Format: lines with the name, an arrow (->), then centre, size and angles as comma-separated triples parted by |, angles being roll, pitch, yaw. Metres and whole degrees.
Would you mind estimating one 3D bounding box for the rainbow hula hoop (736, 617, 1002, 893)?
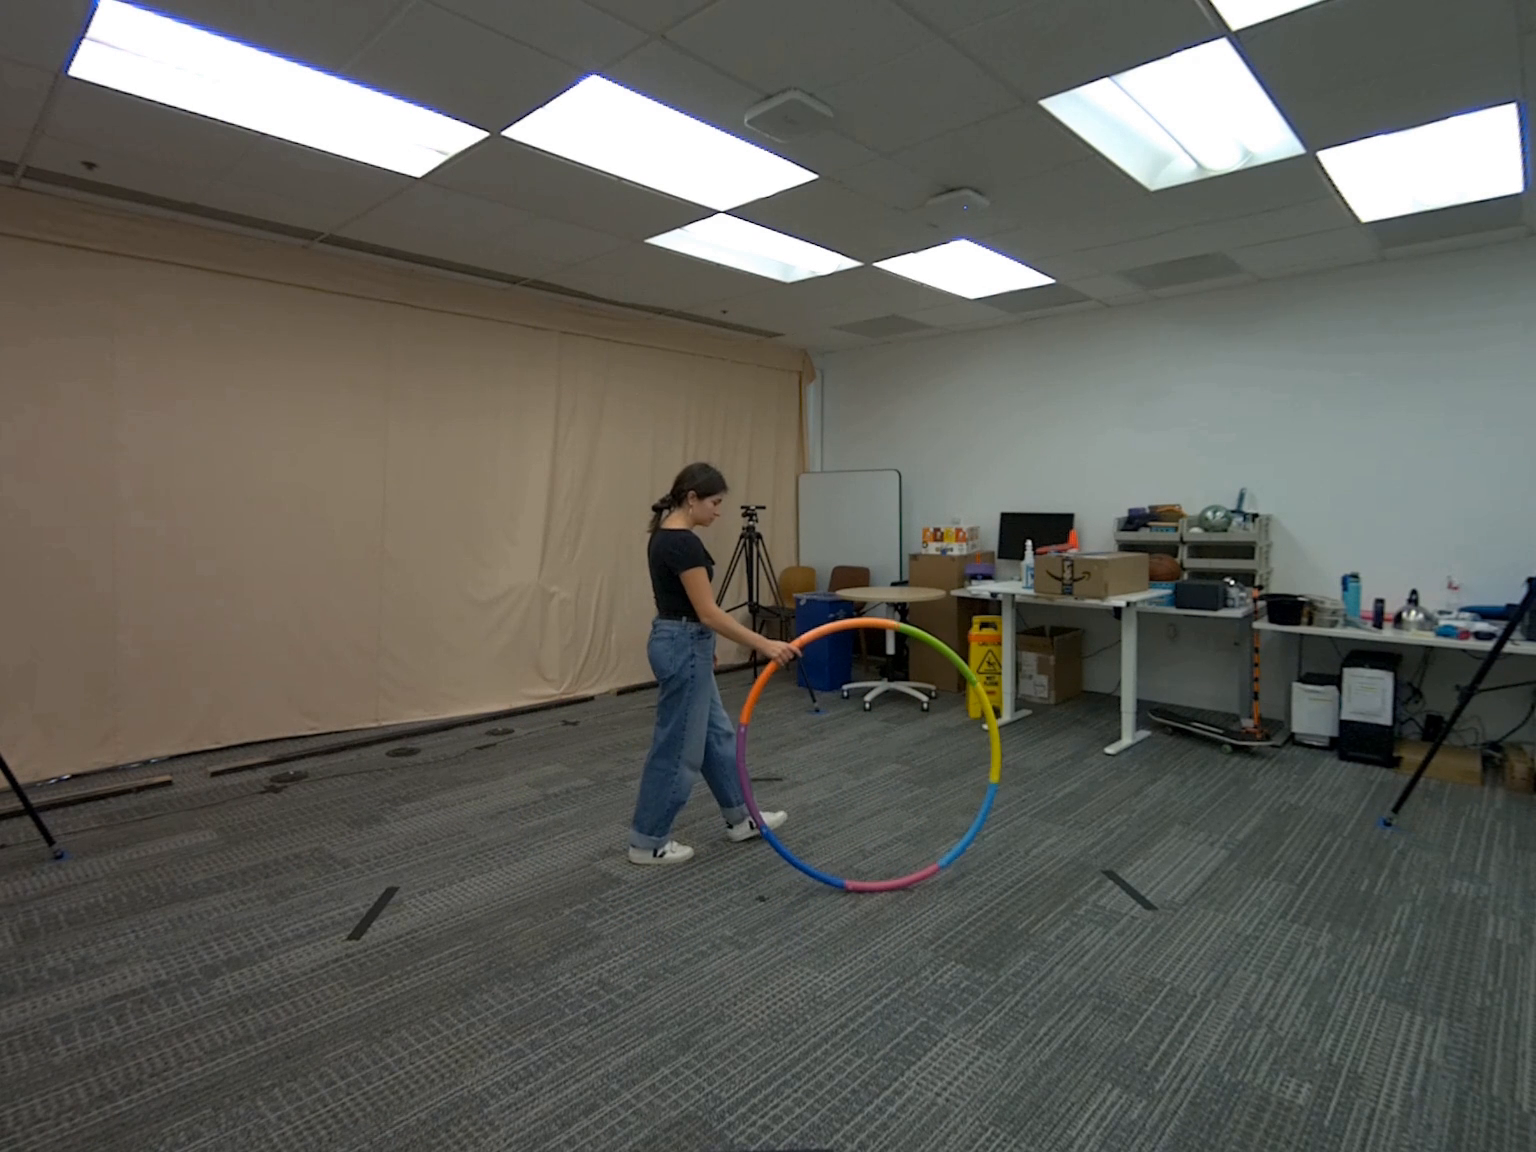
rainbow hula hoop -> 0.390, 0.661, 3.085 | 0.972, 0.981, 0.035 | -1, -4, -5
